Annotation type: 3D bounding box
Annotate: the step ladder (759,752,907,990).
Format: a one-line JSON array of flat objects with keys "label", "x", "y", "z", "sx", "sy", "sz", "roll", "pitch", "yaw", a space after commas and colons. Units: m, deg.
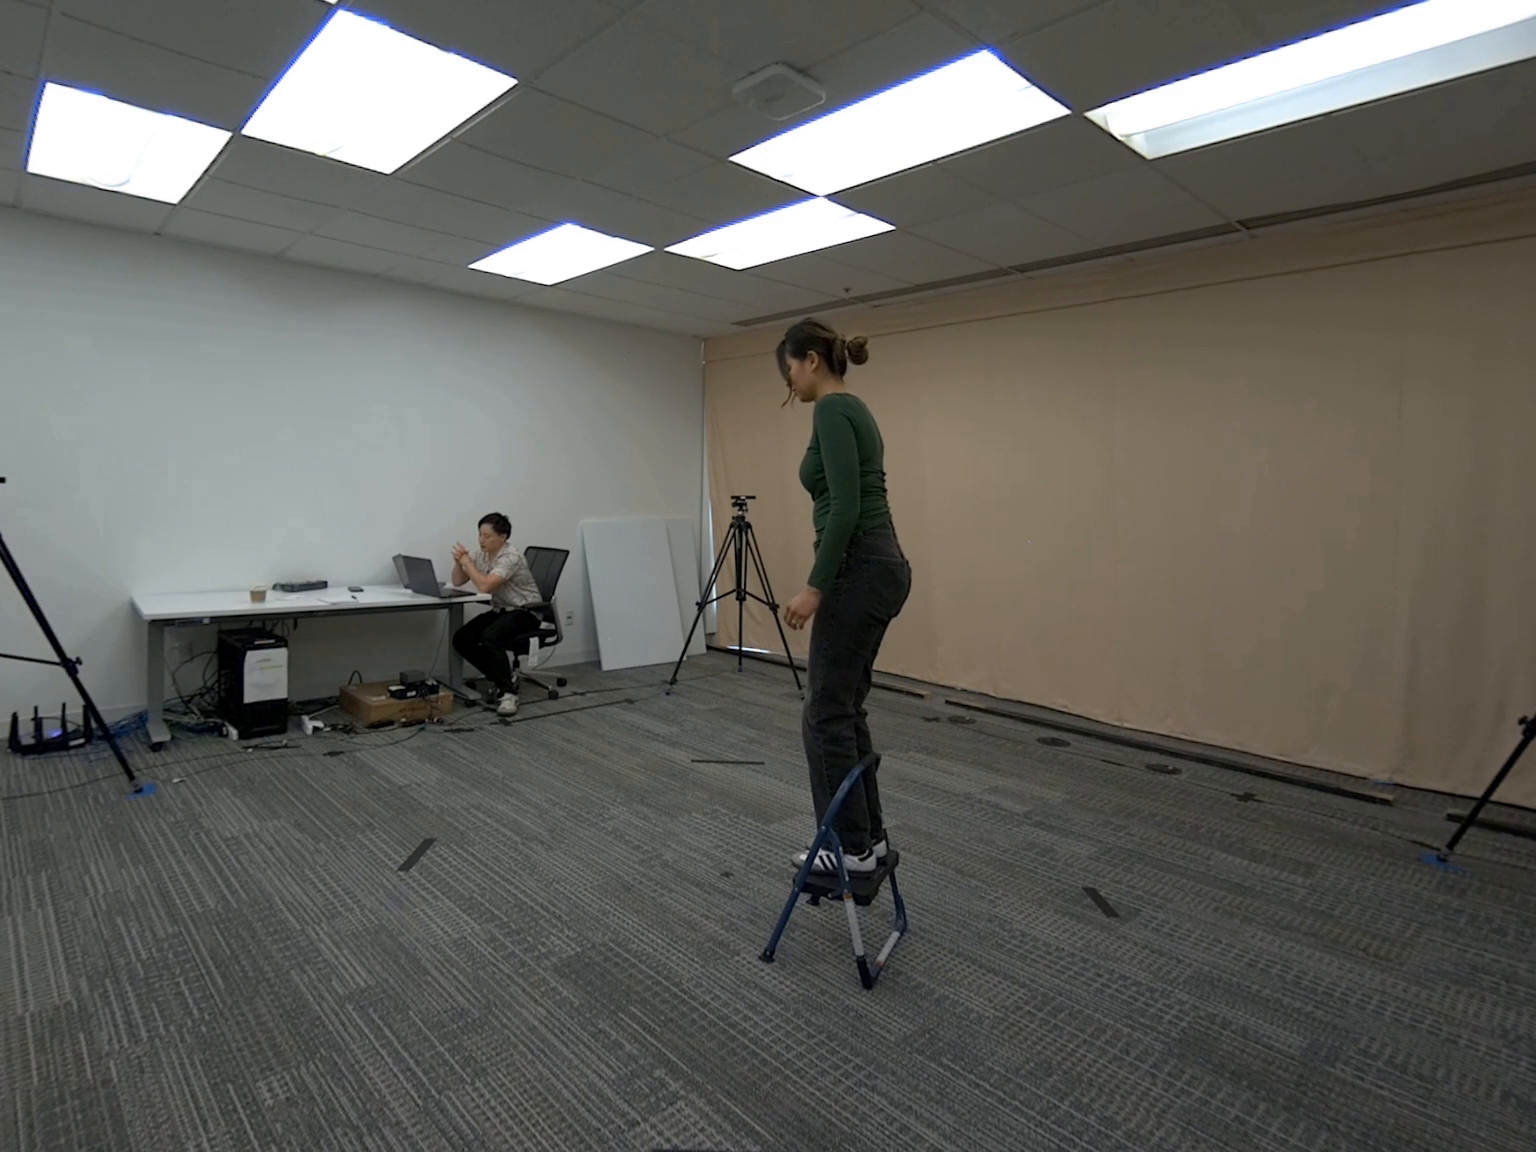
[{"label": "step ladder", "x": 0.222, "y": 0.857, "z": 2.624, "sx": 0.356, "sy": 0.604, "sz": 0.423, "roll": 3, "pitch": 4, "yaw": 25}]
